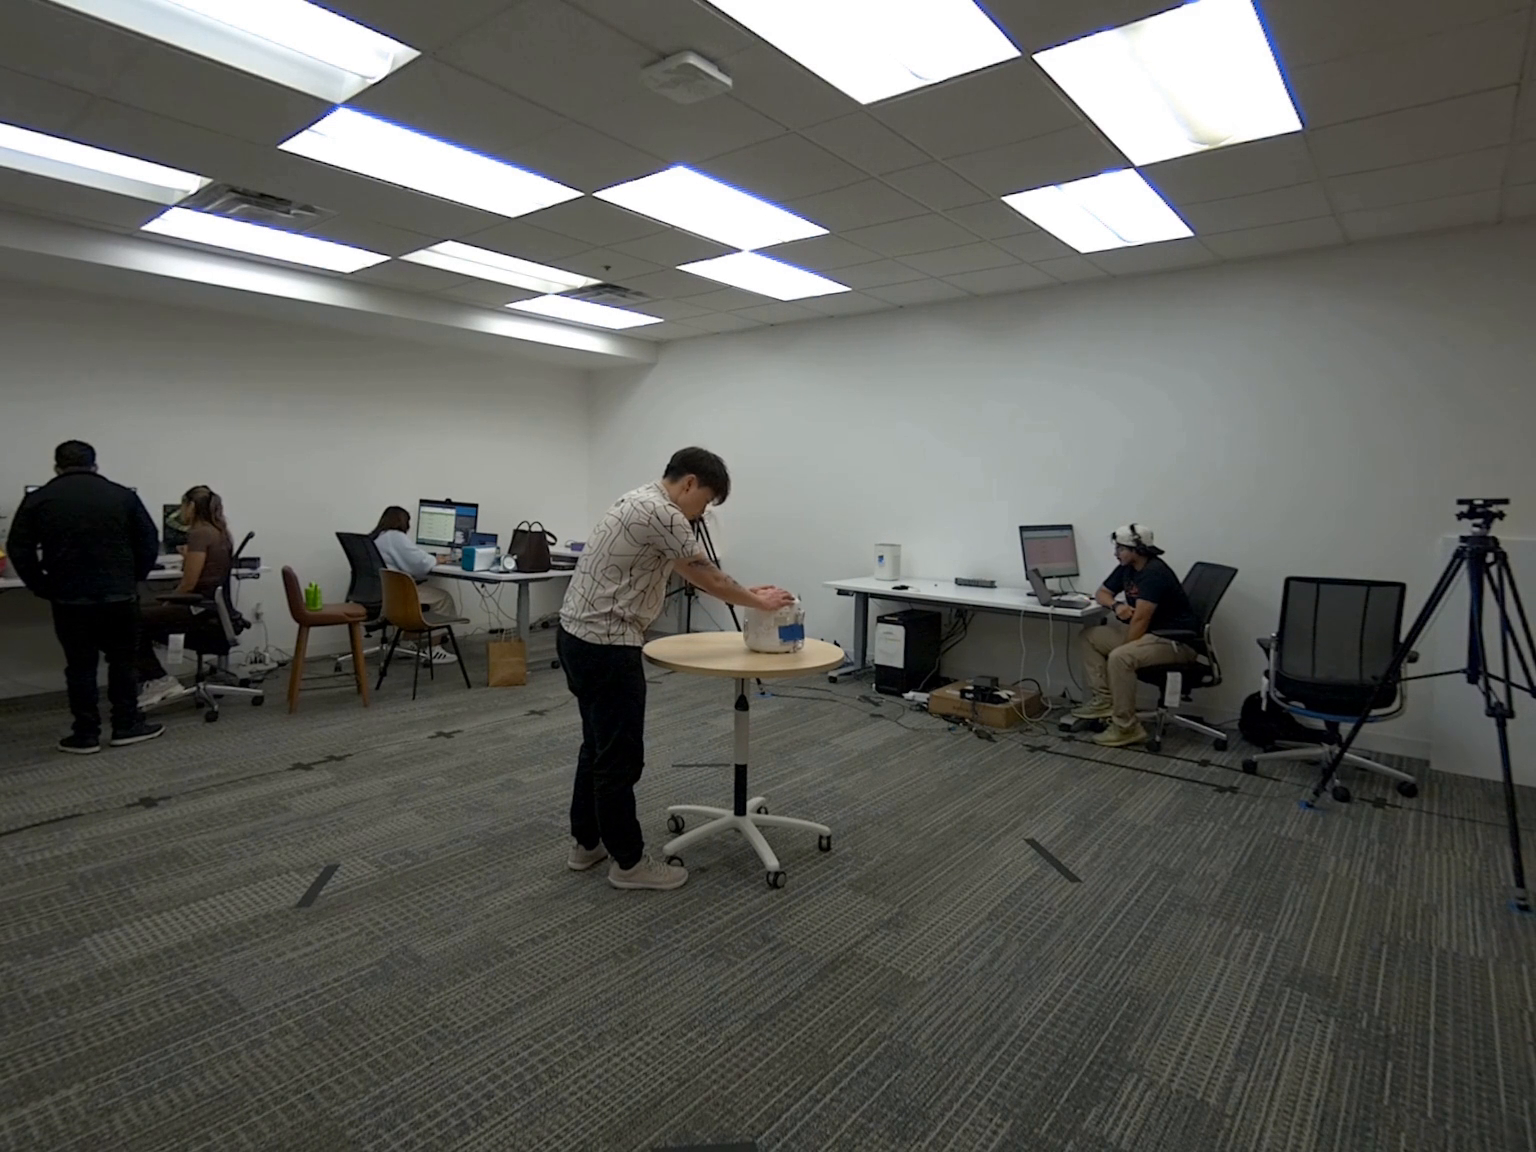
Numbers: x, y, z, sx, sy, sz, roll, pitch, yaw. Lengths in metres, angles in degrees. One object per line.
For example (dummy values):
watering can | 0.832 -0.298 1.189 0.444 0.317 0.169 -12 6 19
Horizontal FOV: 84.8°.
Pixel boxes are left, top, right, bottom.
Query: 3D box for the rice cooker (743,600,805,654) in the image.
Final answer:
rice cooker | 0.007 0.168 3.237 0.215 0.232 0.224 1 3 -13
